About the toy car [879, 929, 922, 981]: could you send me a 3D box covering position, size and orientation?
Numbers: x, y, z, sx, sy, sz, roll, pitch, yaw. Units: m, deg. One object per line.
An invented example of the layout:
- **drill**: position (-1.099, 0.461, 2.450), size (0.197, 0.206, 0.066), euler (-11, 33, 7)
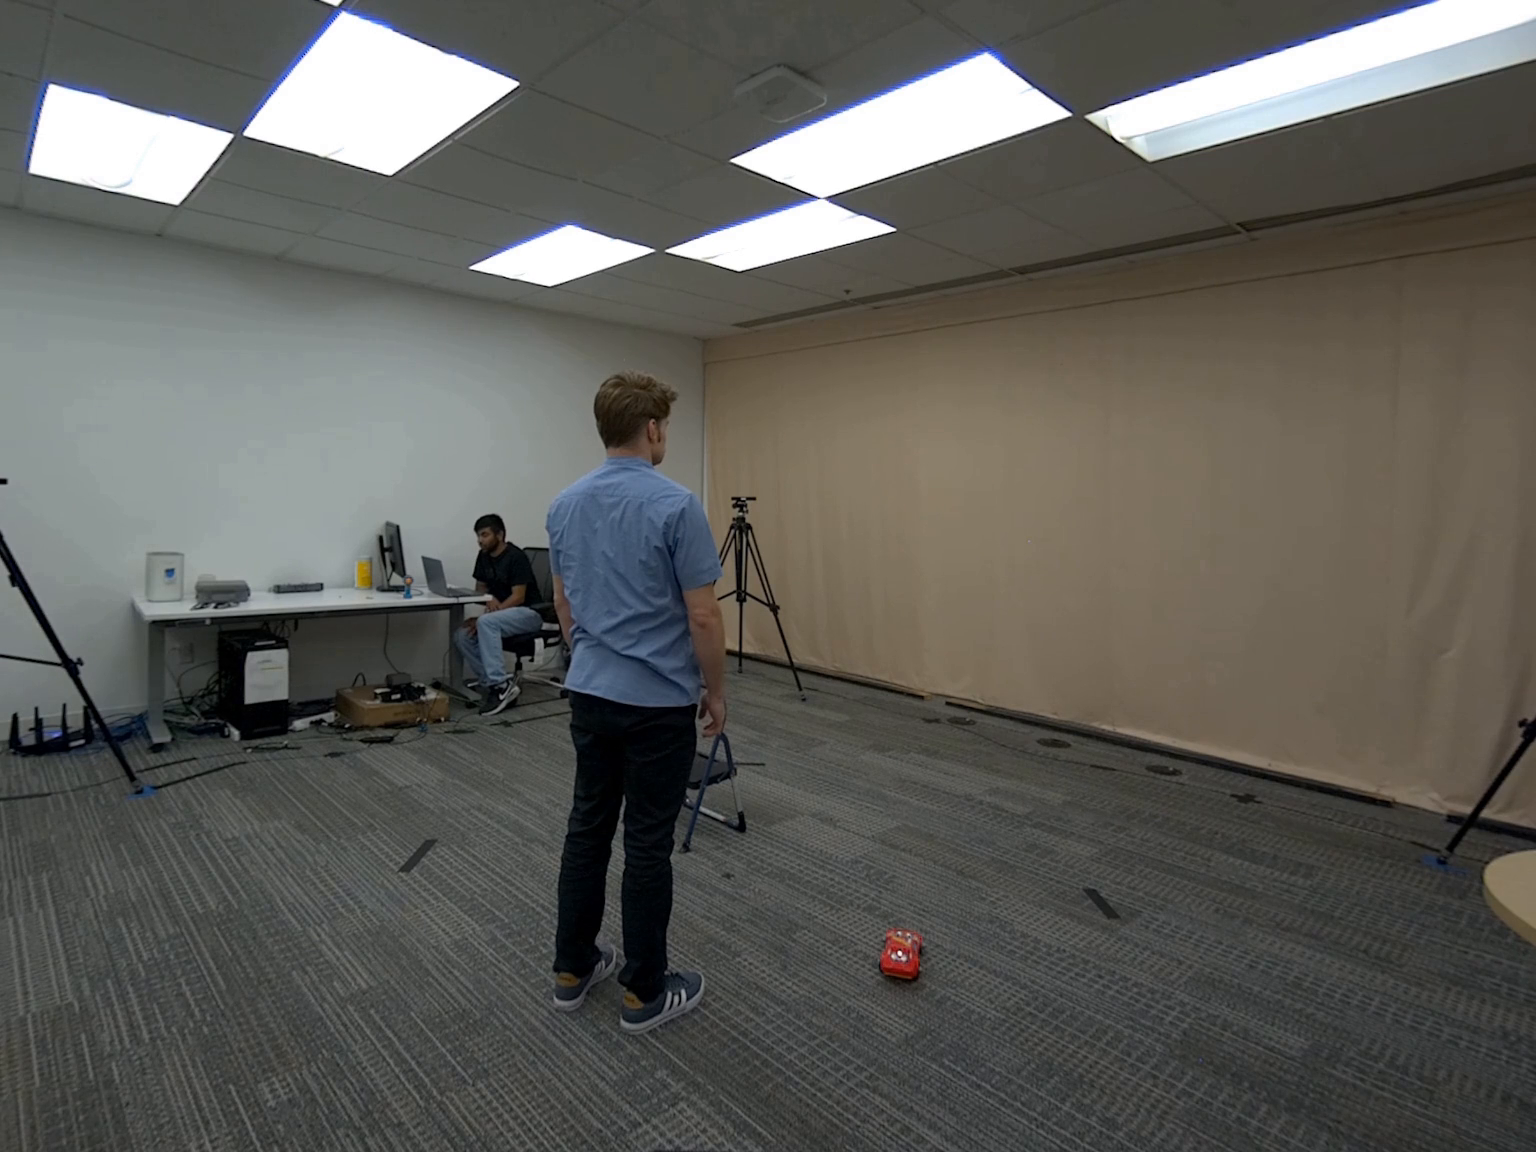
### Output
- **toy car**: position (0.399, 1.141, 2.525), size (0.132, 0.083, 0.250), euler (3, -6, 14)
